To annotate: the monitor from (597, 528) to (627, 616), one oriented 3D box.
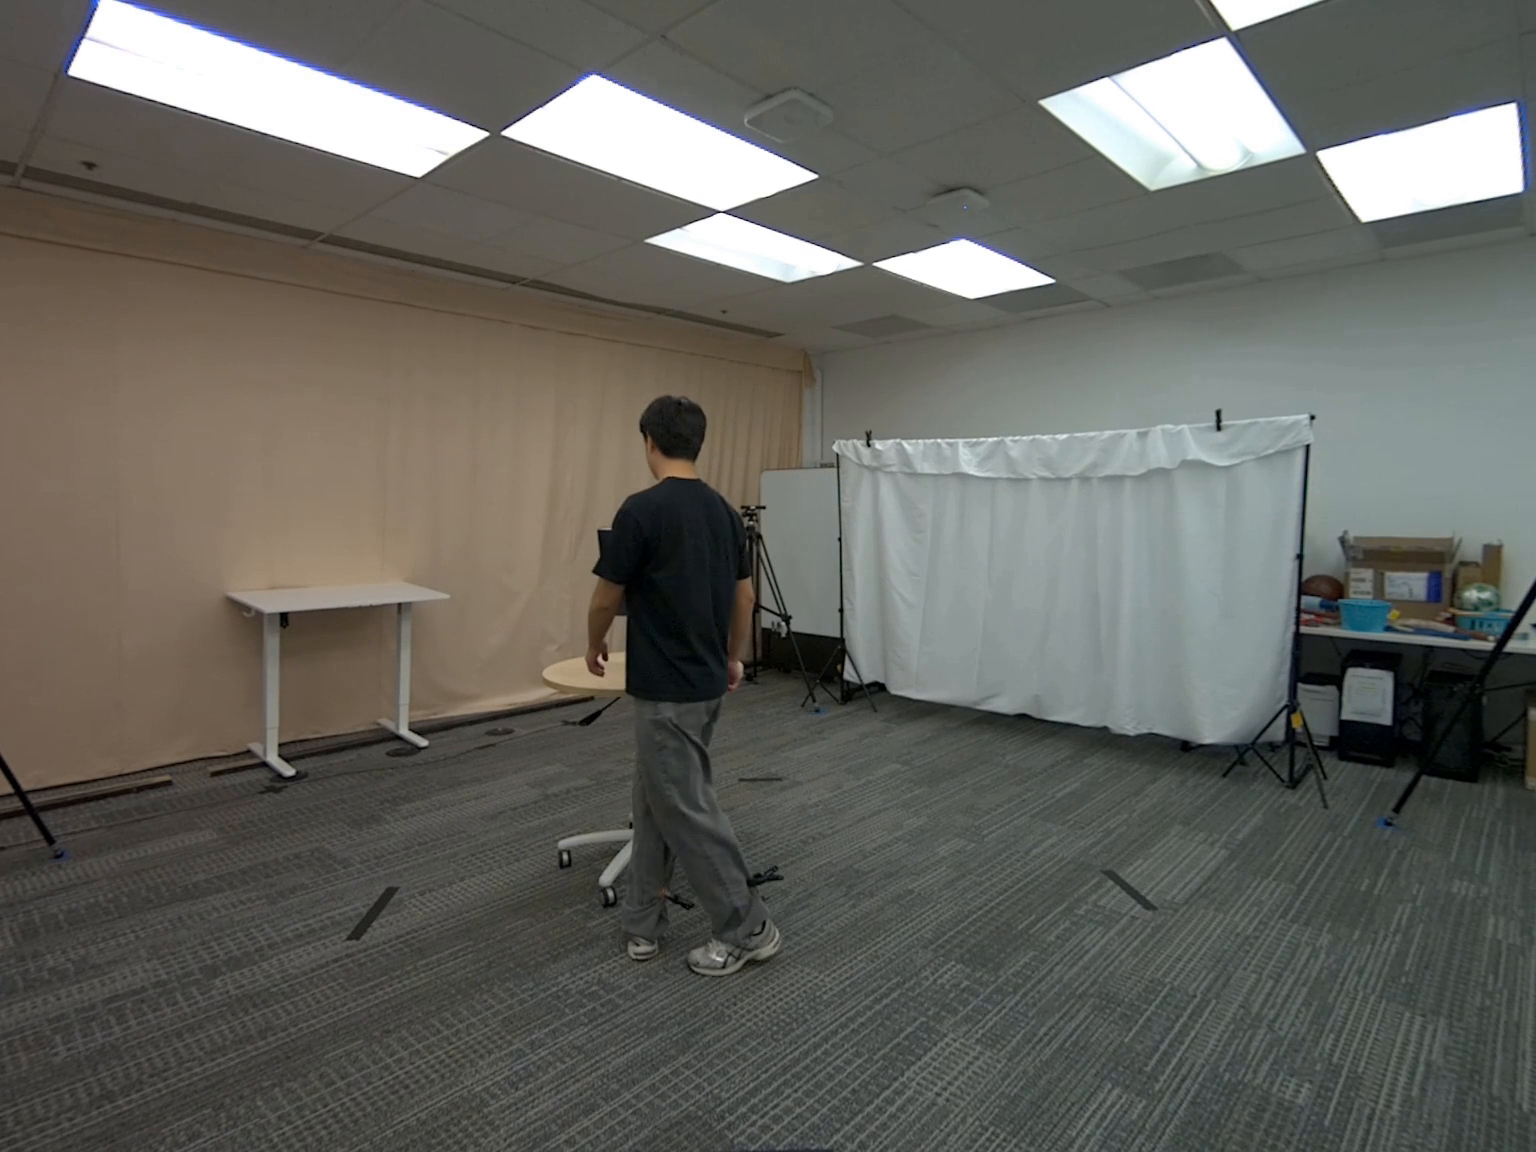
[{"bbox_3d":[-0.386,0.089,3.232,0.570,0.565,0.219,0,1,14],"label":"monitor"}]
